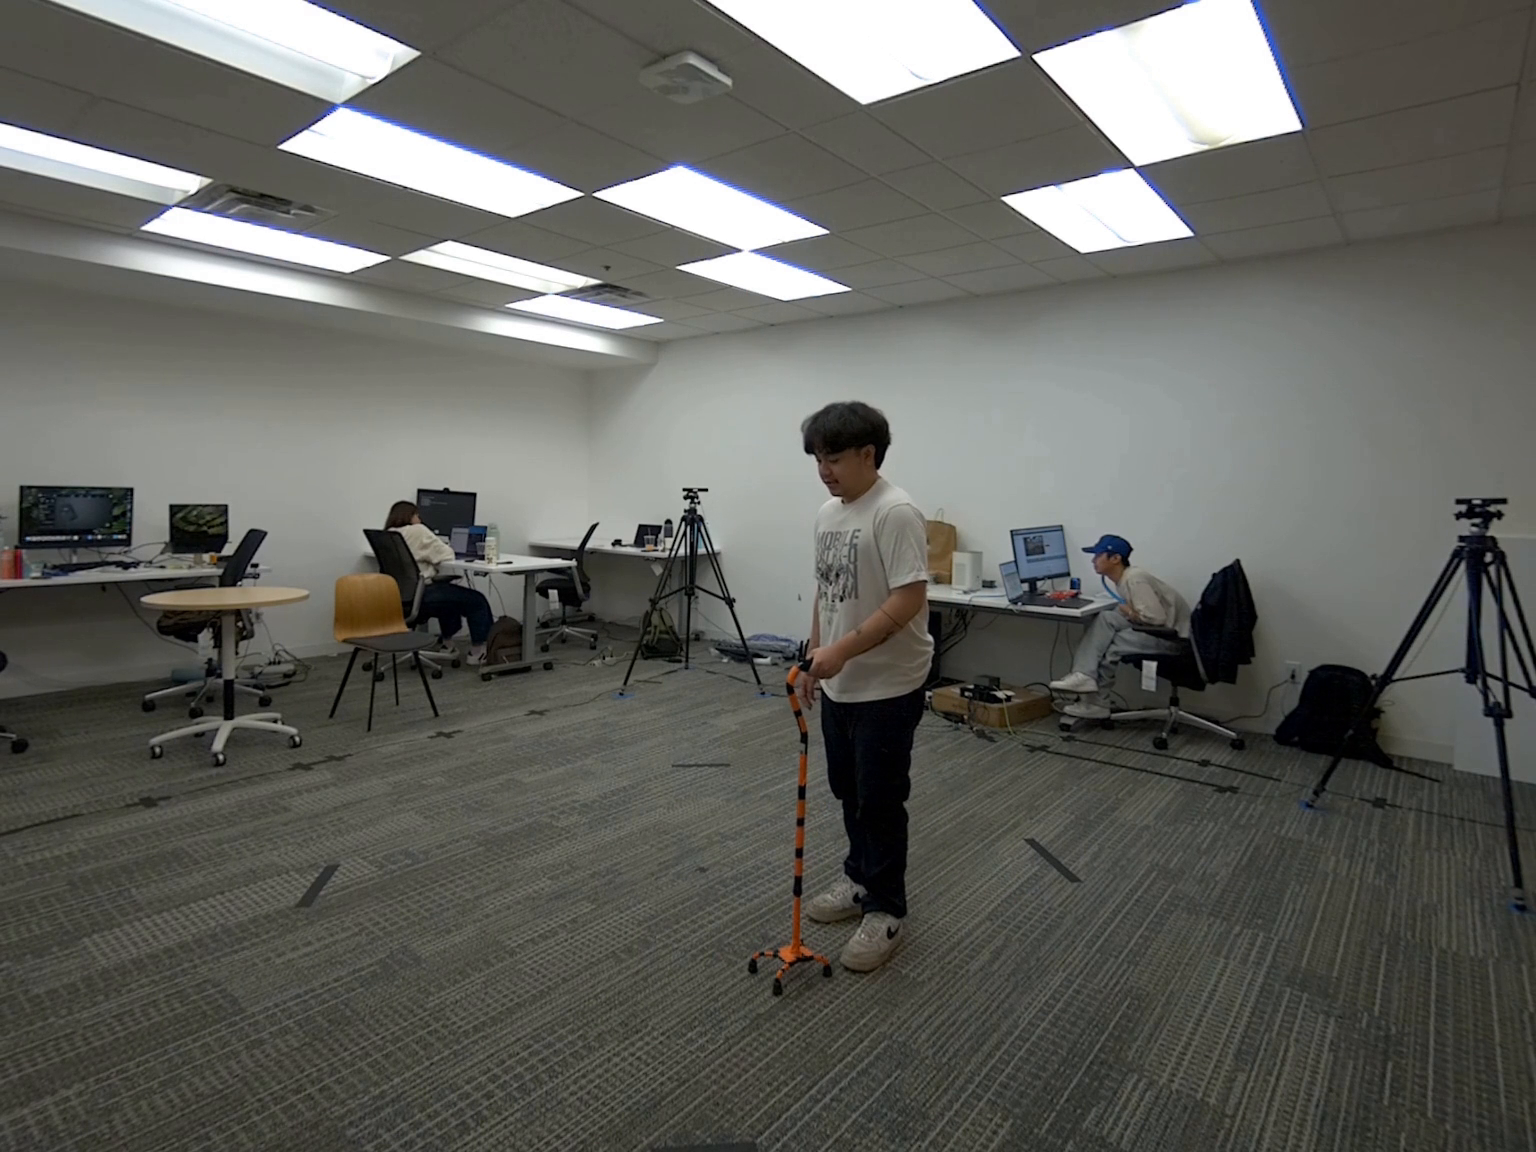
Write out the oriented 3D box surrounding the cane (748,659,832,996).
[{"bbox_3d":[0.075,0.688,2.432,0.200,0.905,0.156,0,4,-33],"label":"cane"}]
